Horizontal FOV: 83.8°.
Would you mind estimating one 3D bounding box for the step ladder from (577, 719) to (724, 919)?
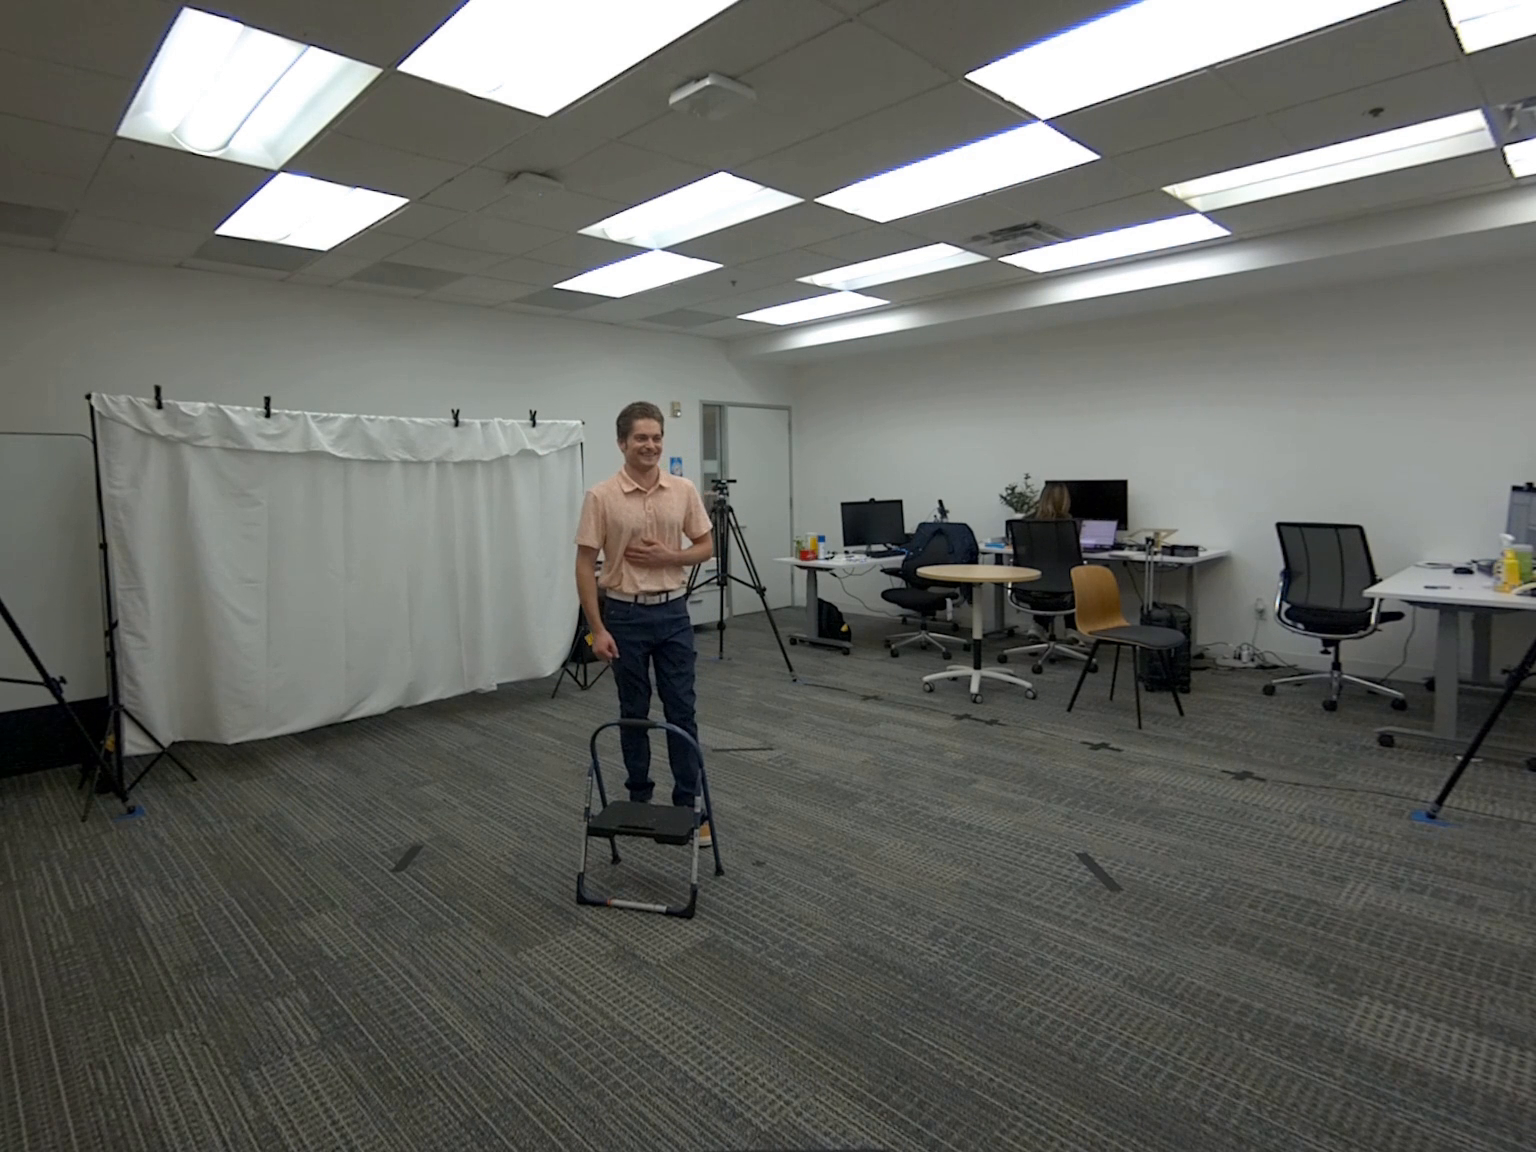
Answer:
[{"bbox_3d":[-0.404,0.775,2.924,0.437,0.604,0.345,0,4,15],"label":"step ladder"}]
